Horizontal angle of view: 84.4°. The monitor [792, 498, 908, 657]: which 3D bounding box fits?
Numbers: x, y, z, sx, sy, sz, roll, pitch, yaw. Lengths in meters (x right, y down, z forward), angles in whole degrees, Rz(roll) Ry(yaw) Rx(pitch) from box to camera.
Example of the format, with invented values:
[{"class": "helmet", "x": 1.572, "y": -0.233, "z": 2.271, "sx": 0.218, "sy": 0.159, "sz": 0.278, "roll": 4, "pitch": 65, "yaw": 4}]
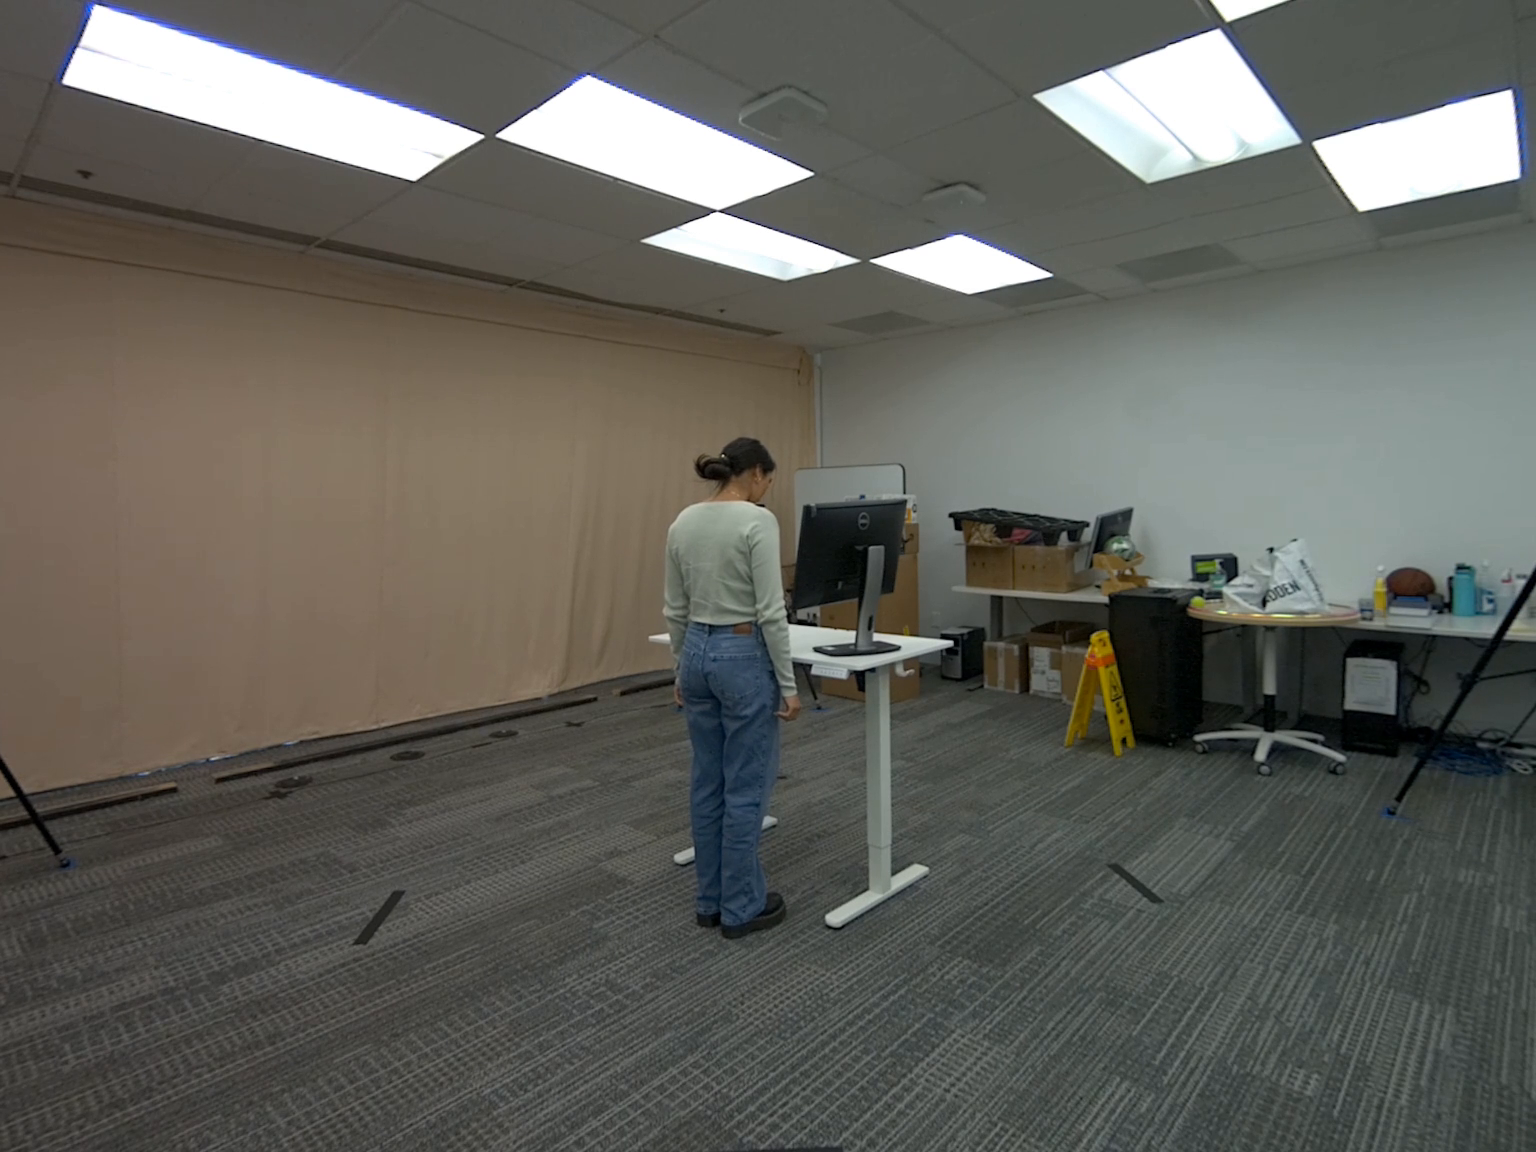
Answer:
[{"class": "monitor", "x": 0.318, "y": 0.008, "z": 2.857, "sx": 0.523, "sy": 0.521, "sz": 0.193, "roll": -7, "pitch": 6, "yaw": -43}]
